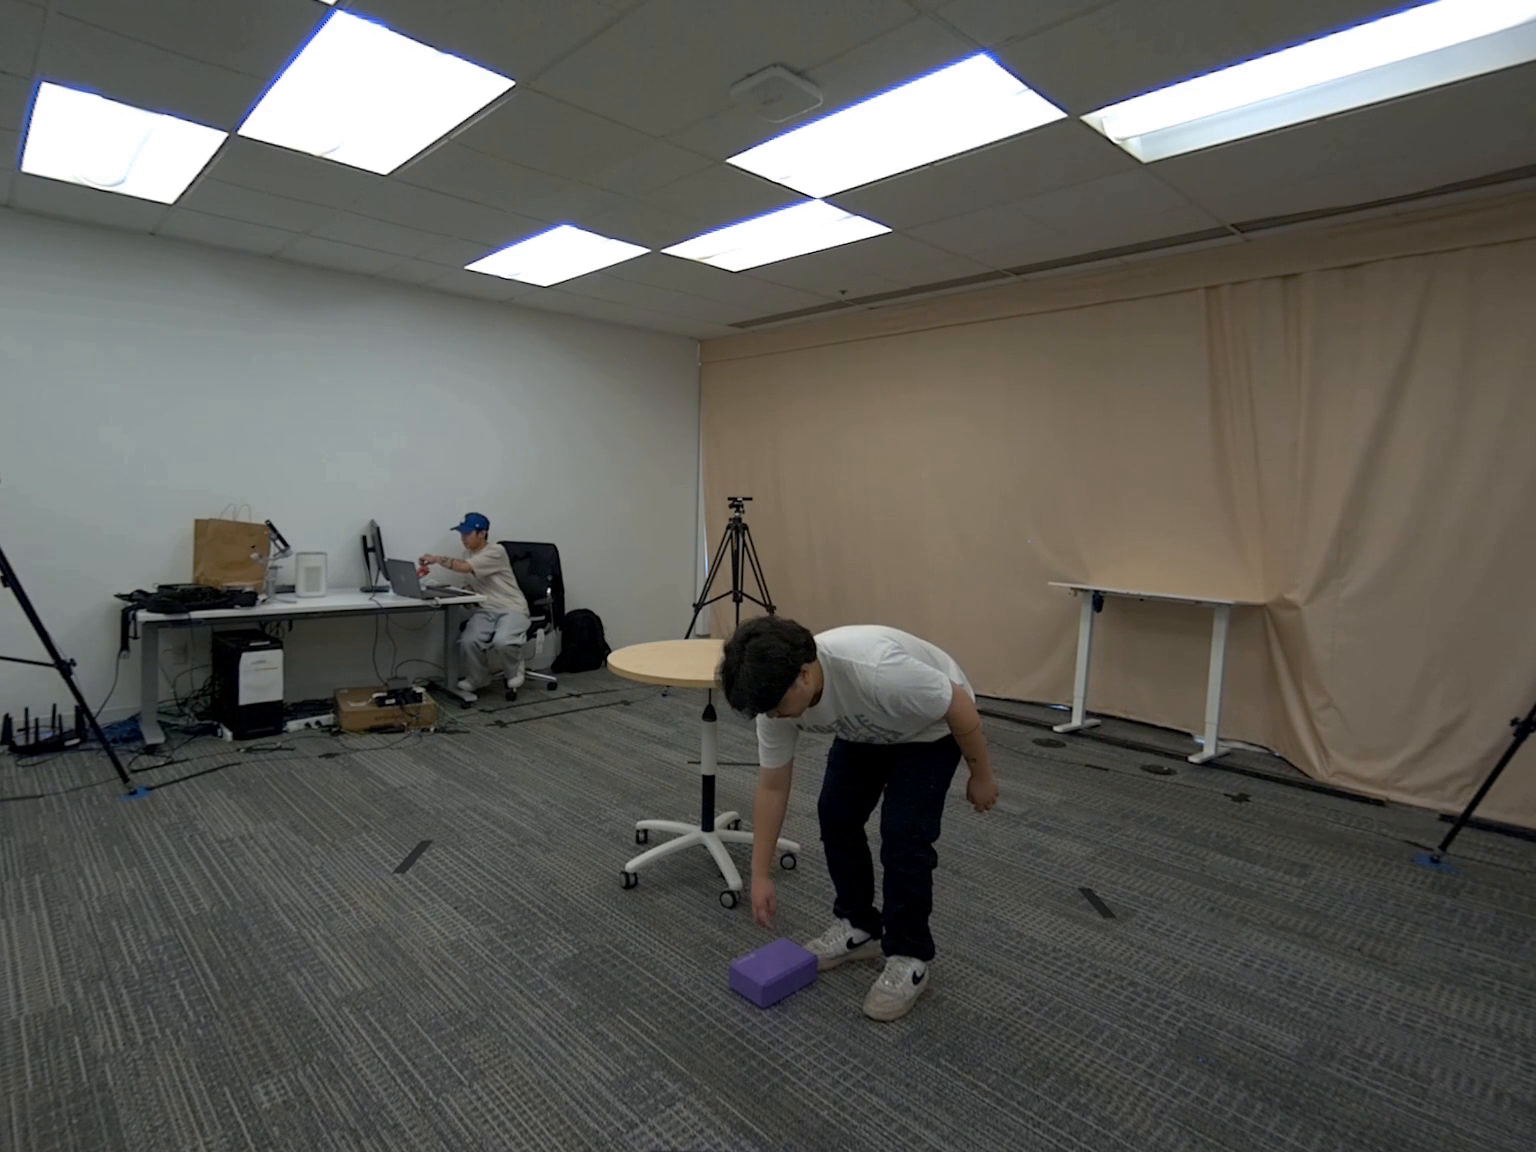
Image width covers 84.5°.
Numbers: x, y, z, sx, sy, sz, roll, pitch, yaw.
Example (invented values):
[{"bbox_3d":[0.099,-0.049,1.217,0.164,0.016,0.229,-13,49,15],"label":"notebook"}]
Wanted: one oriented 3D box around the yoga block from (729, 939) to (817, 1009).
[{"bbox_3d":[0.016,1.128,2.421,0.153,0.076,0.224,6,8,44],"label":"yoga block"}]
